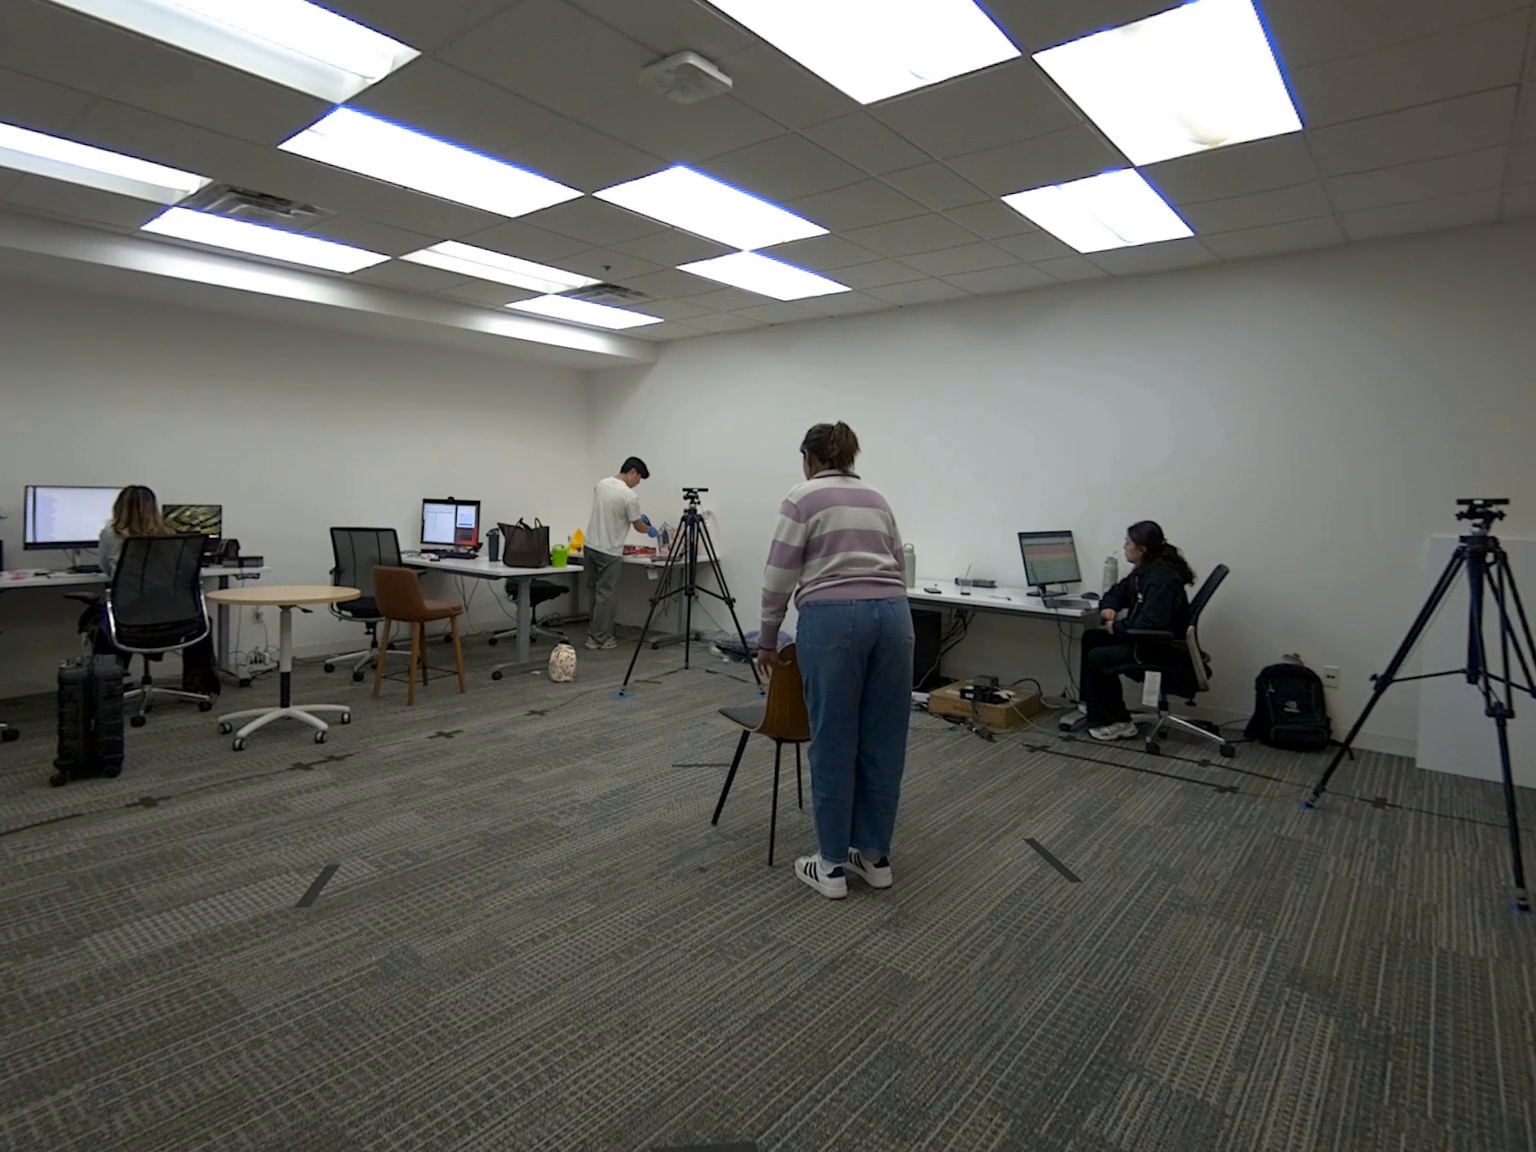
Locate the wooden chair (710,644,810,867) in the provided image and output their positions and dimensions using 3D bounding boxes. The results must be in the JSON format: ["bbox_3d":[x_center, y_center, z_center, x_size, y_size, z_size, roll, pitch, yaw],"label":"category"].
[{"bbox_3d":[0.066,0.616,3.428,0.465,0.872,0.541,-1,8,-31],"label":"wooden chair"}]
